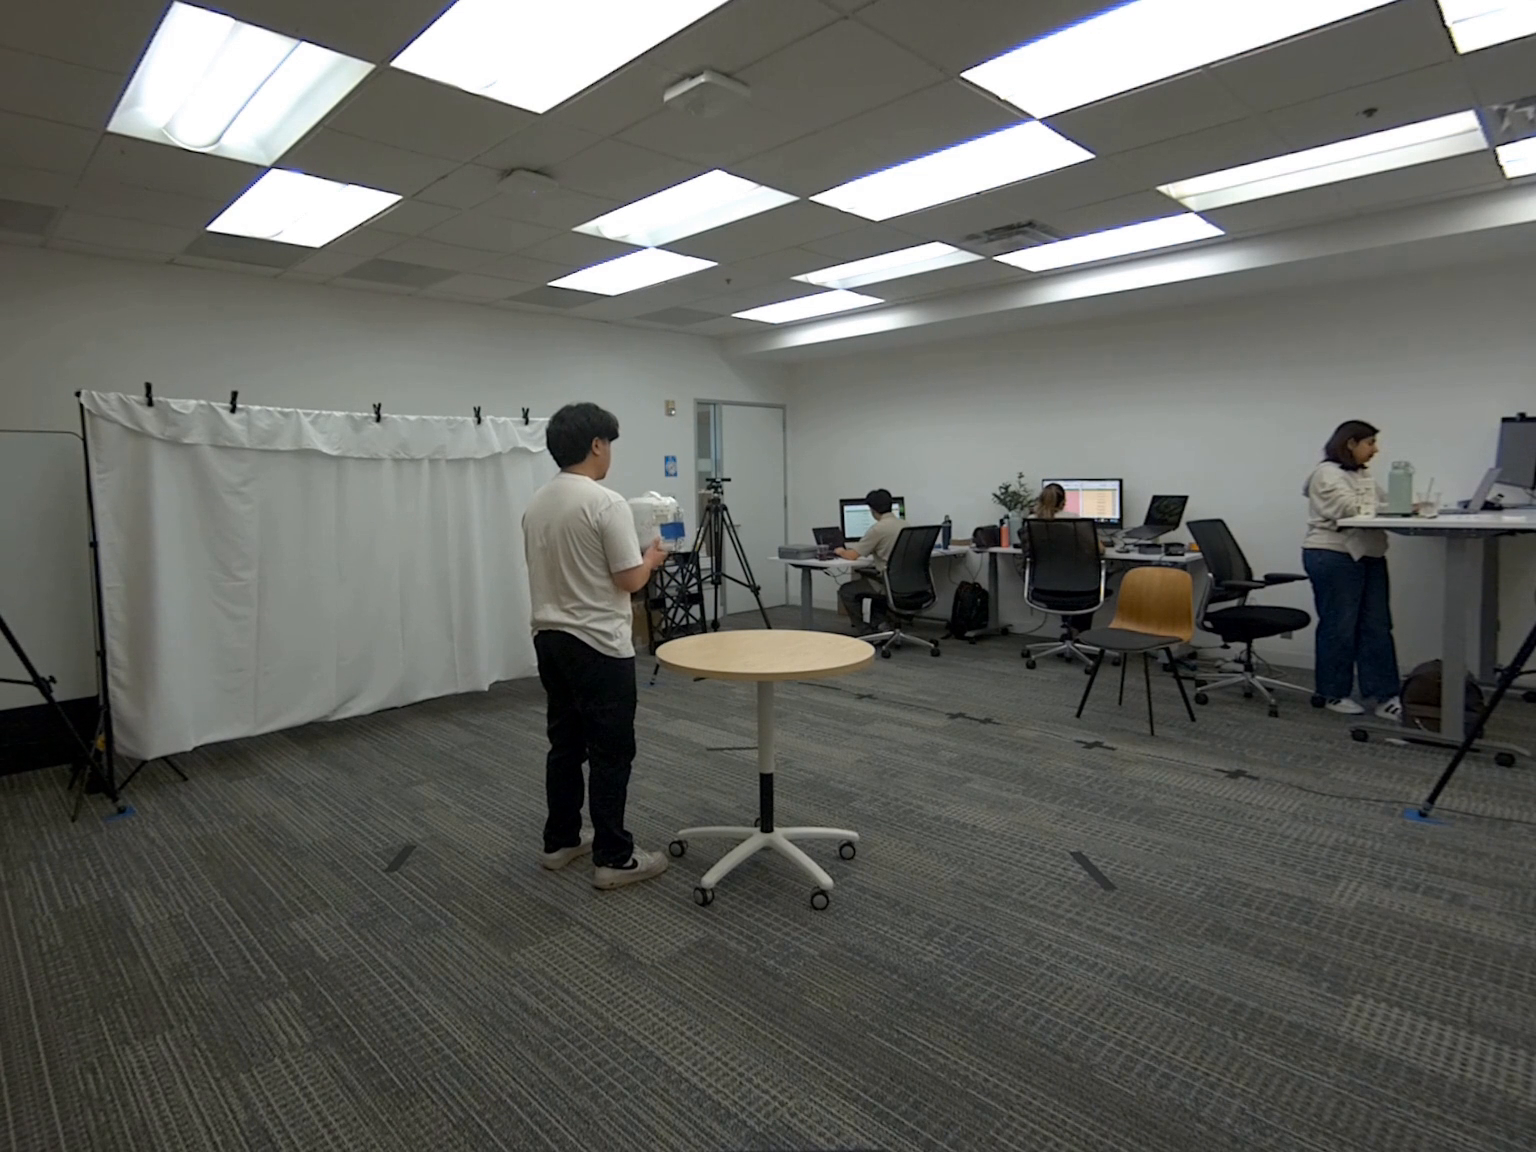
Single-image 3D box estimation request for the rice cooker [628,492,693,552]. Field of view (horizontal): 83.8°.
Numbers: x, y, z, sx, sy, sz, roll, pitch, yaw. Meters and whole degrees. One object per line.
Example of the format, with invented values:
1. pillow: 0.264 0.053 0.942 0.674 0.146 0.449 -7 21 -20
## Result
1. rice cooker: -0.445 -0.209 3.277 0.212 0.232 0.226 -2 3 -28
